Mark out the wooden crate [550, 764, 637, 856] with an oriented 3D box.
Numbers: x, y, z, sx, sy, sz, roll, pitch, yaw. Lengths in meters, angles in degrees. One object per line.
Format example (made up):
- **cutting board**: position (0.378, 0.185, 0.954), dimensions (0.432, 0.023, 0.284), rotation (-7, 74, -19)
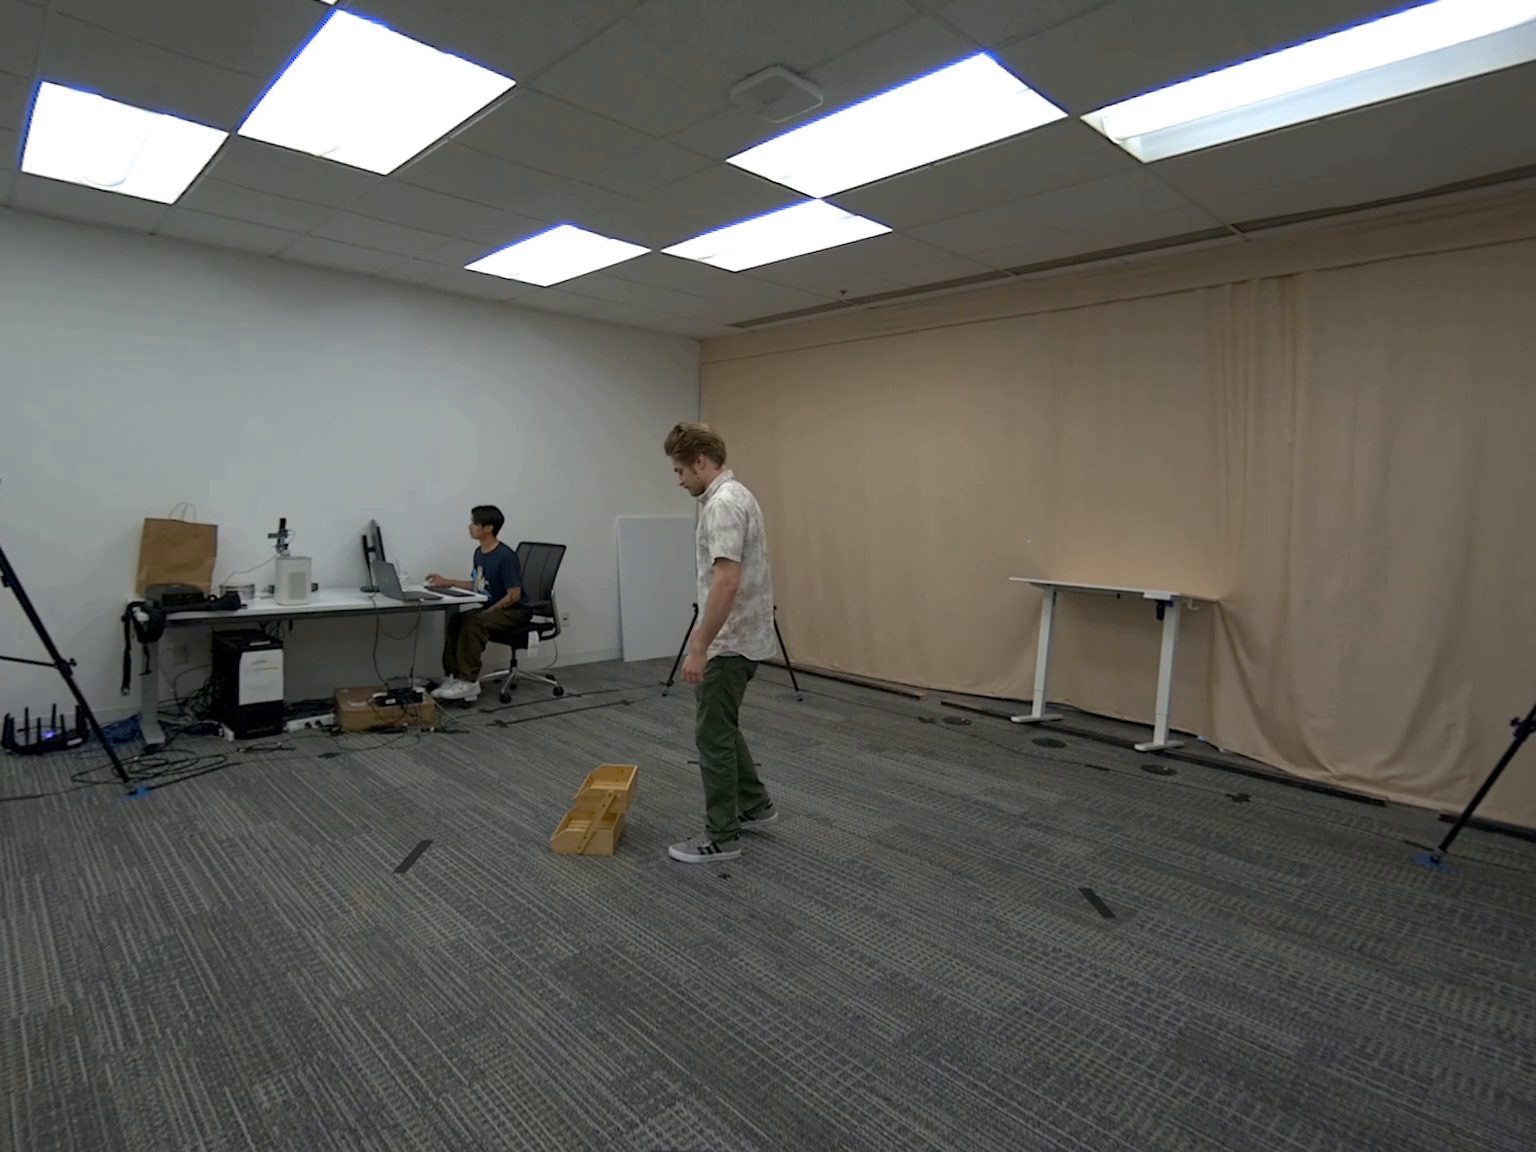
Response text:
- **wooden crate**: position (-0.705, 0.931, 3.409), dimensions (0.302, 0.272, 0.325), rotation (2, 4, -1)
